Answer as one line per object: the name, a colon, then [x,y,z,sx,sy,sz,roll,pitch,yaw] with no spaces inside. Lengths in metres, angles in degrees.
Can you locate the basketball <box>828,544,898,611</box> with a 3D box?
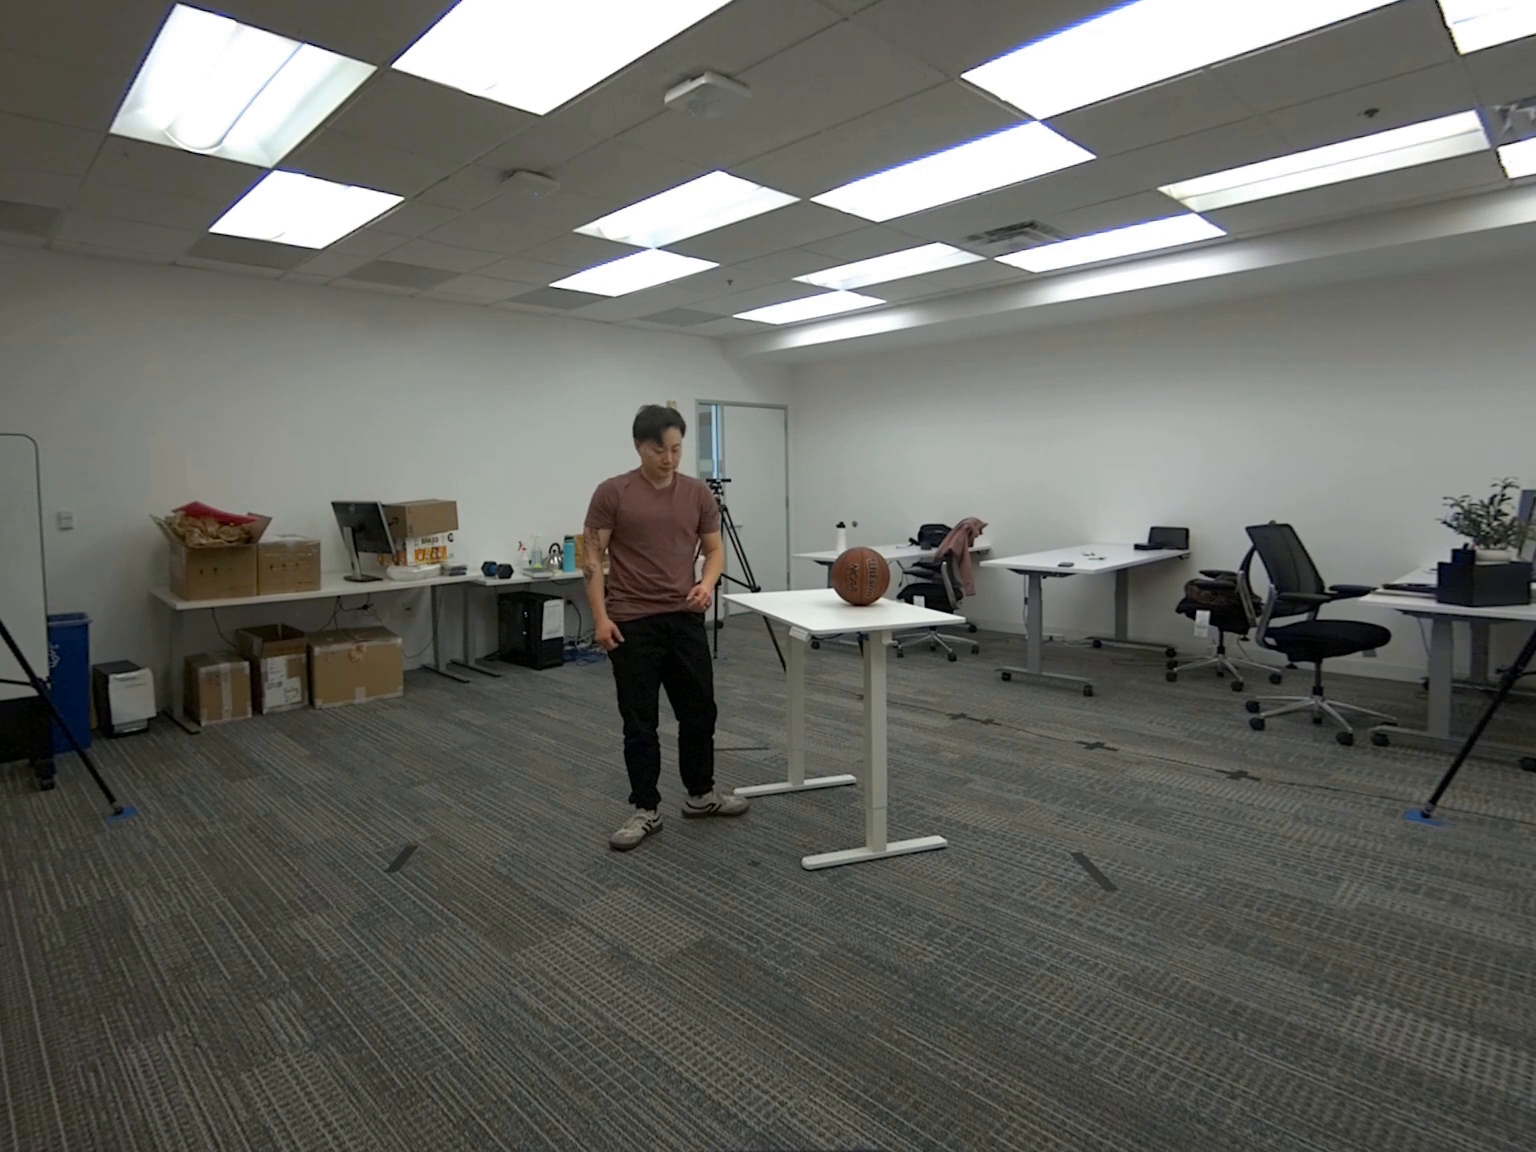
basketball: [0.374,-0.001,3.436,0.236,0.235,0.237,-1,5,-2]
